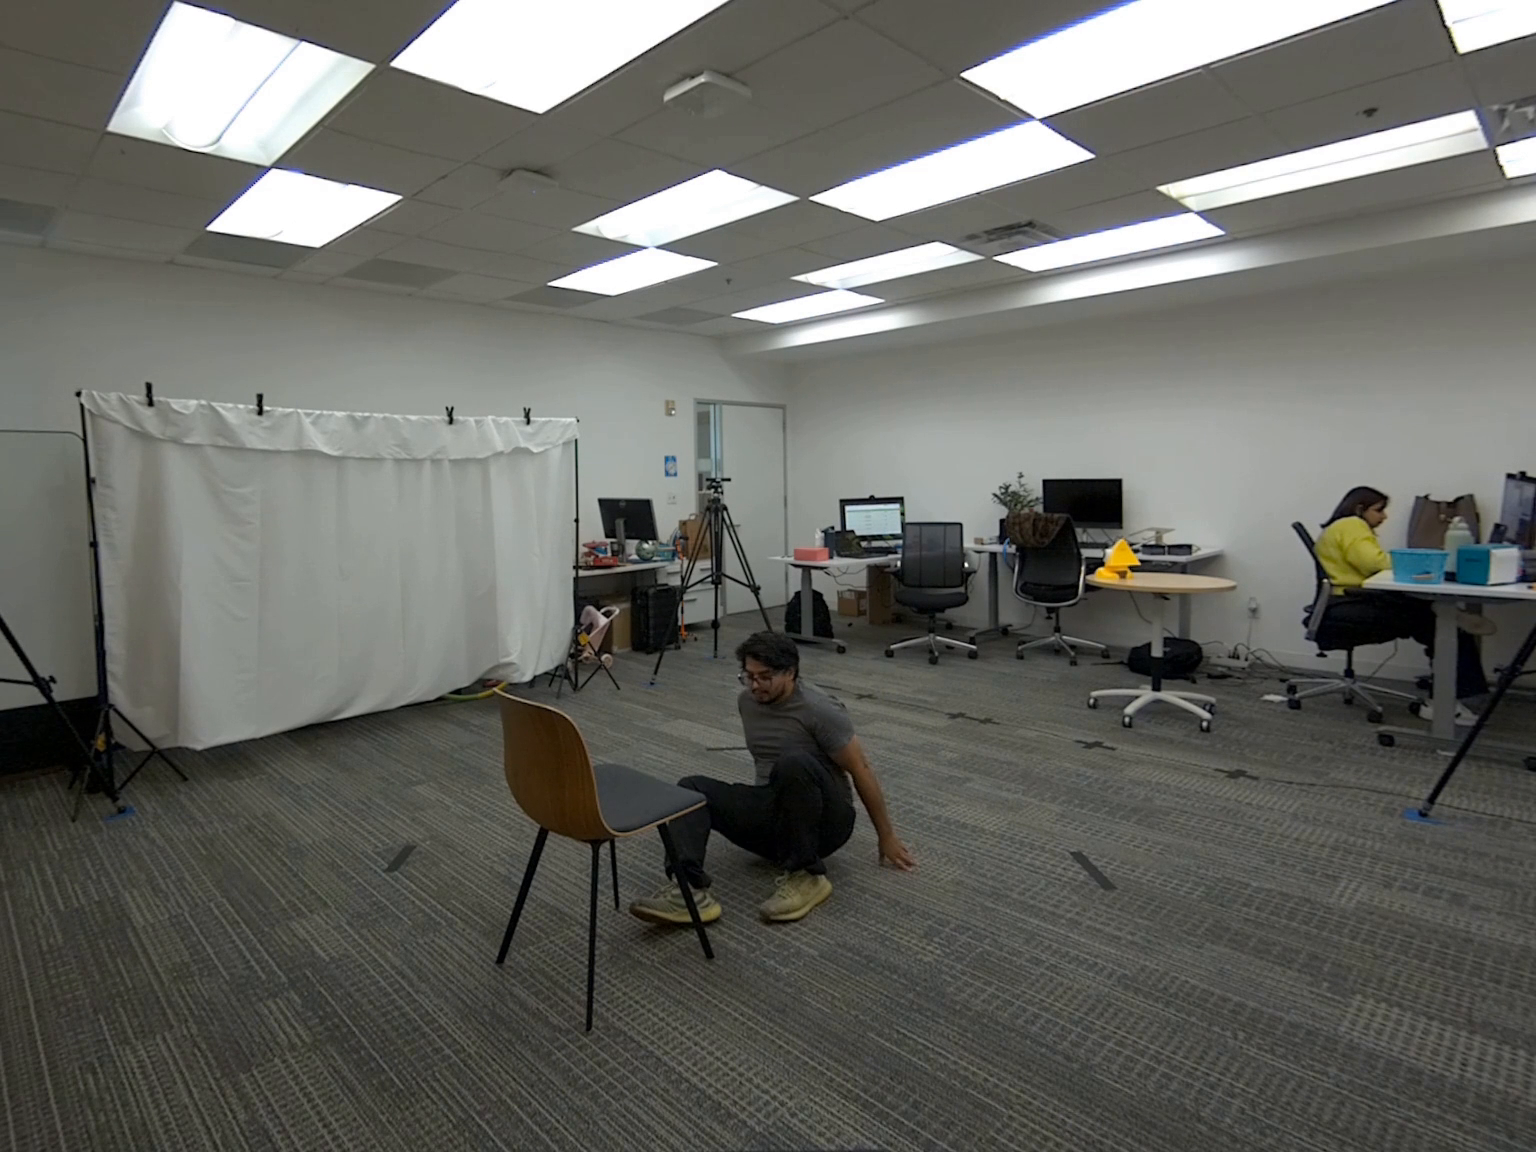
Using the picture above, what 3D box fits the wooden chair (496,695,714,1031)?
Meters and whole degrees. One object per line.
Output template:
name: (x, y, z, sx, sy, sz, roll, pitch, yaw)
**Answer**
wooden chair: (-0.474, 0.699, 2.460, 0.493, 0.871, 0.511, 3, 11, 43)
